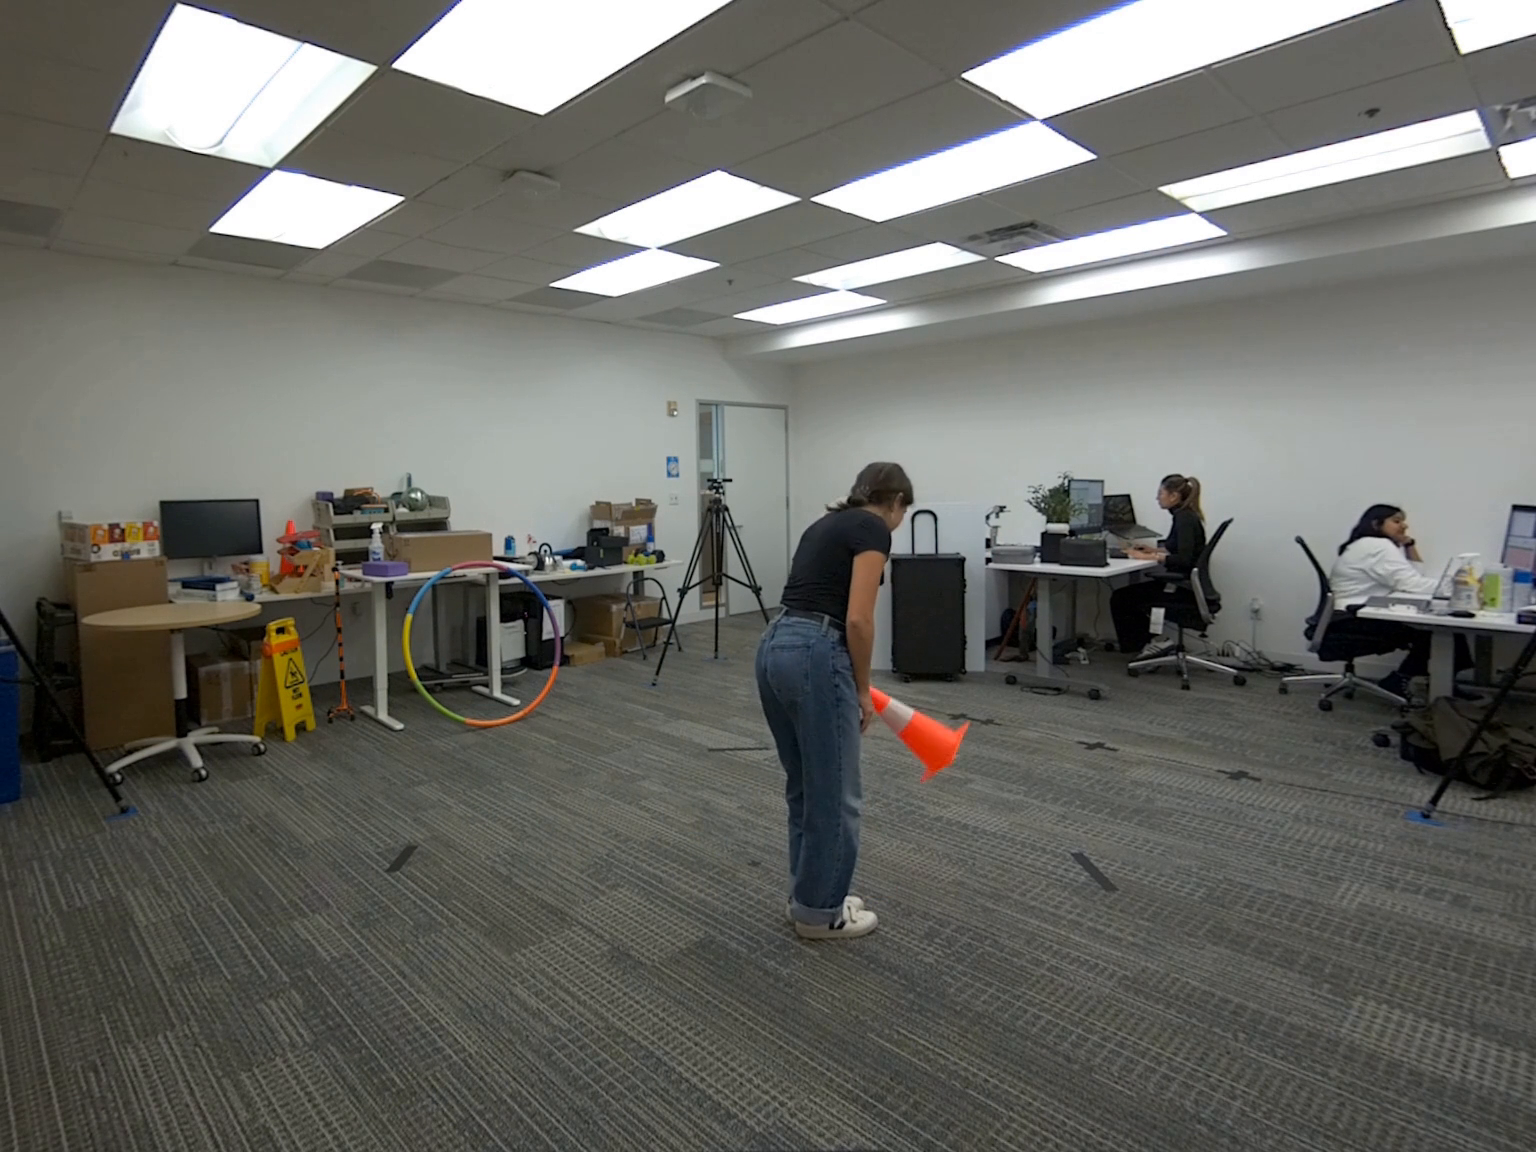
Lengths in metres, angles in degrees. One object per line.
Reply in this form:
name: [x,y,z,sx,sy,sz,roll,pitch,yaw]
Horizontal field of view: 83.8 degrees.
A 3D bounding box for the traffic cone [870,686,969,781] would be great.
traffic cone: [0.454,0.488,2.952,0.387,0.201,0.205,36,48,5]
